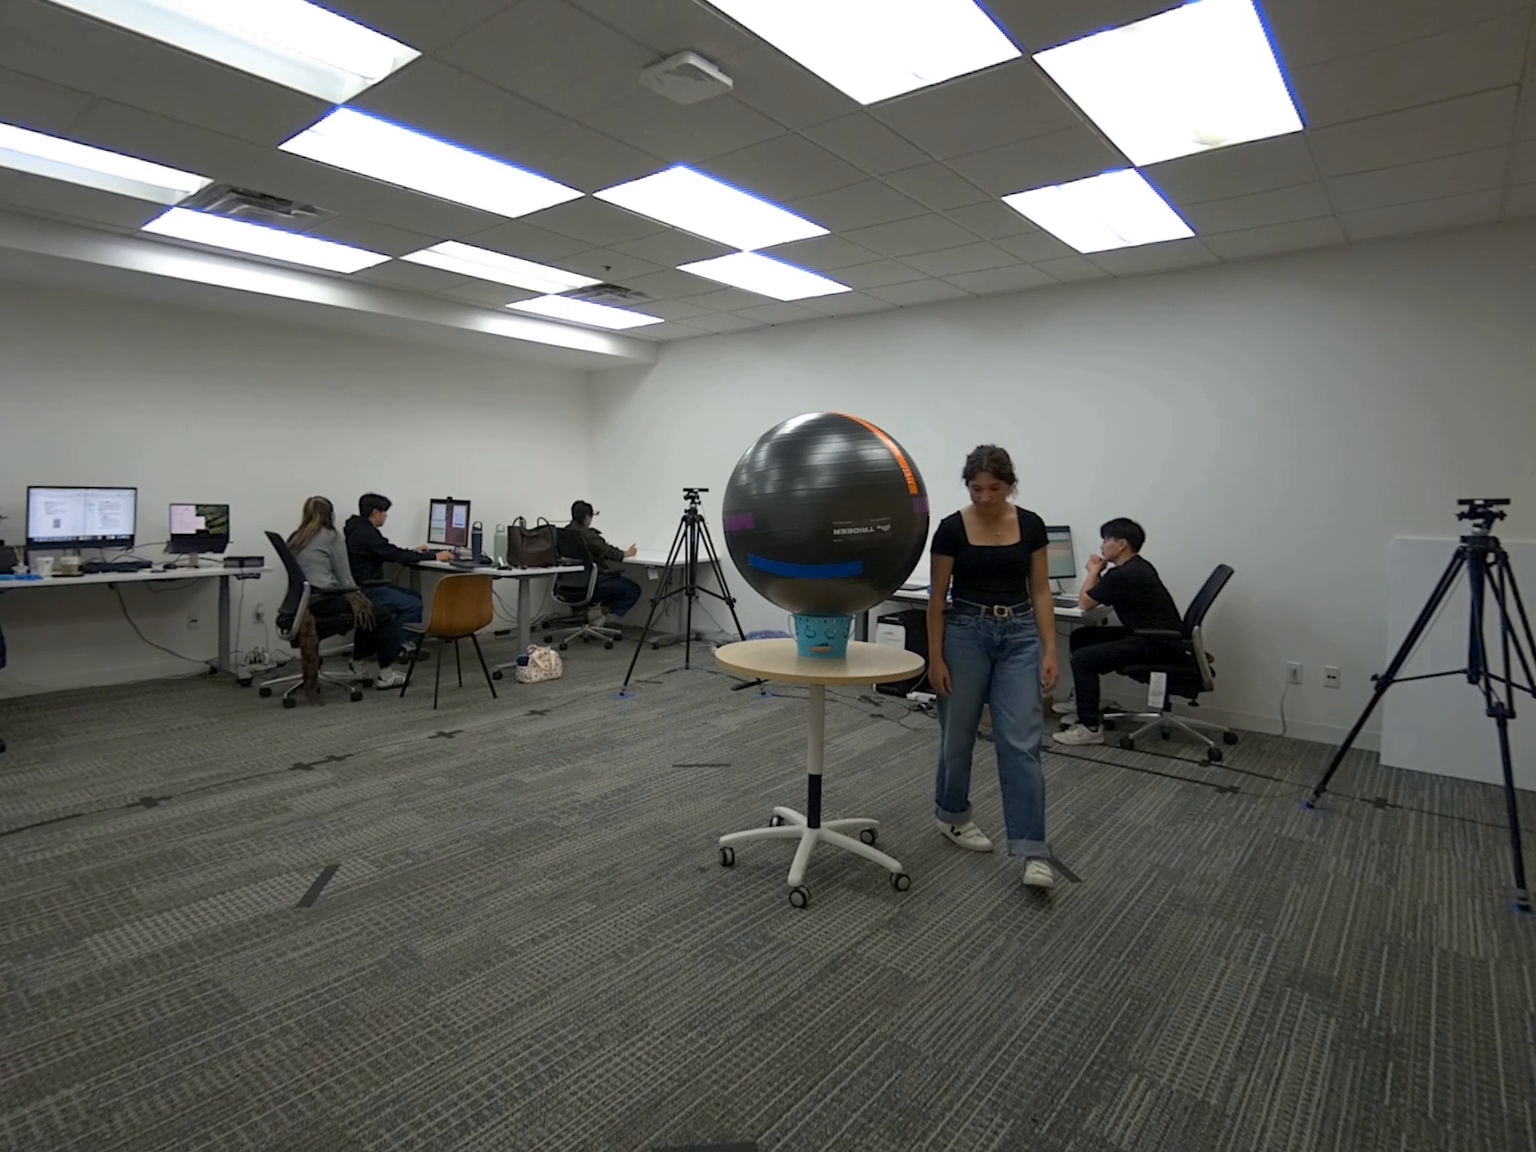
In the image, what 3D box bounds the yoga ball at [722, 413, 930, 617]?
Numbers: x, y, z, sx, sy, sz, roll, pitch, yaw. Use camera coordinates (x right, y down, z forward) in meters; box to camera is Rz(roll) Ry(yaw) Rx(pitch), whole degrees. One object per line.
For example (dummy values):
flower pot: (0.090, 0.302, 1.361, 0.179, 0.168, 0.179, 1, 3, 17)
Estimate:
yoga ball: (0.215, -0.223, 3.159, 0.757, 0.755, 0.762, 1, 4, -2)
